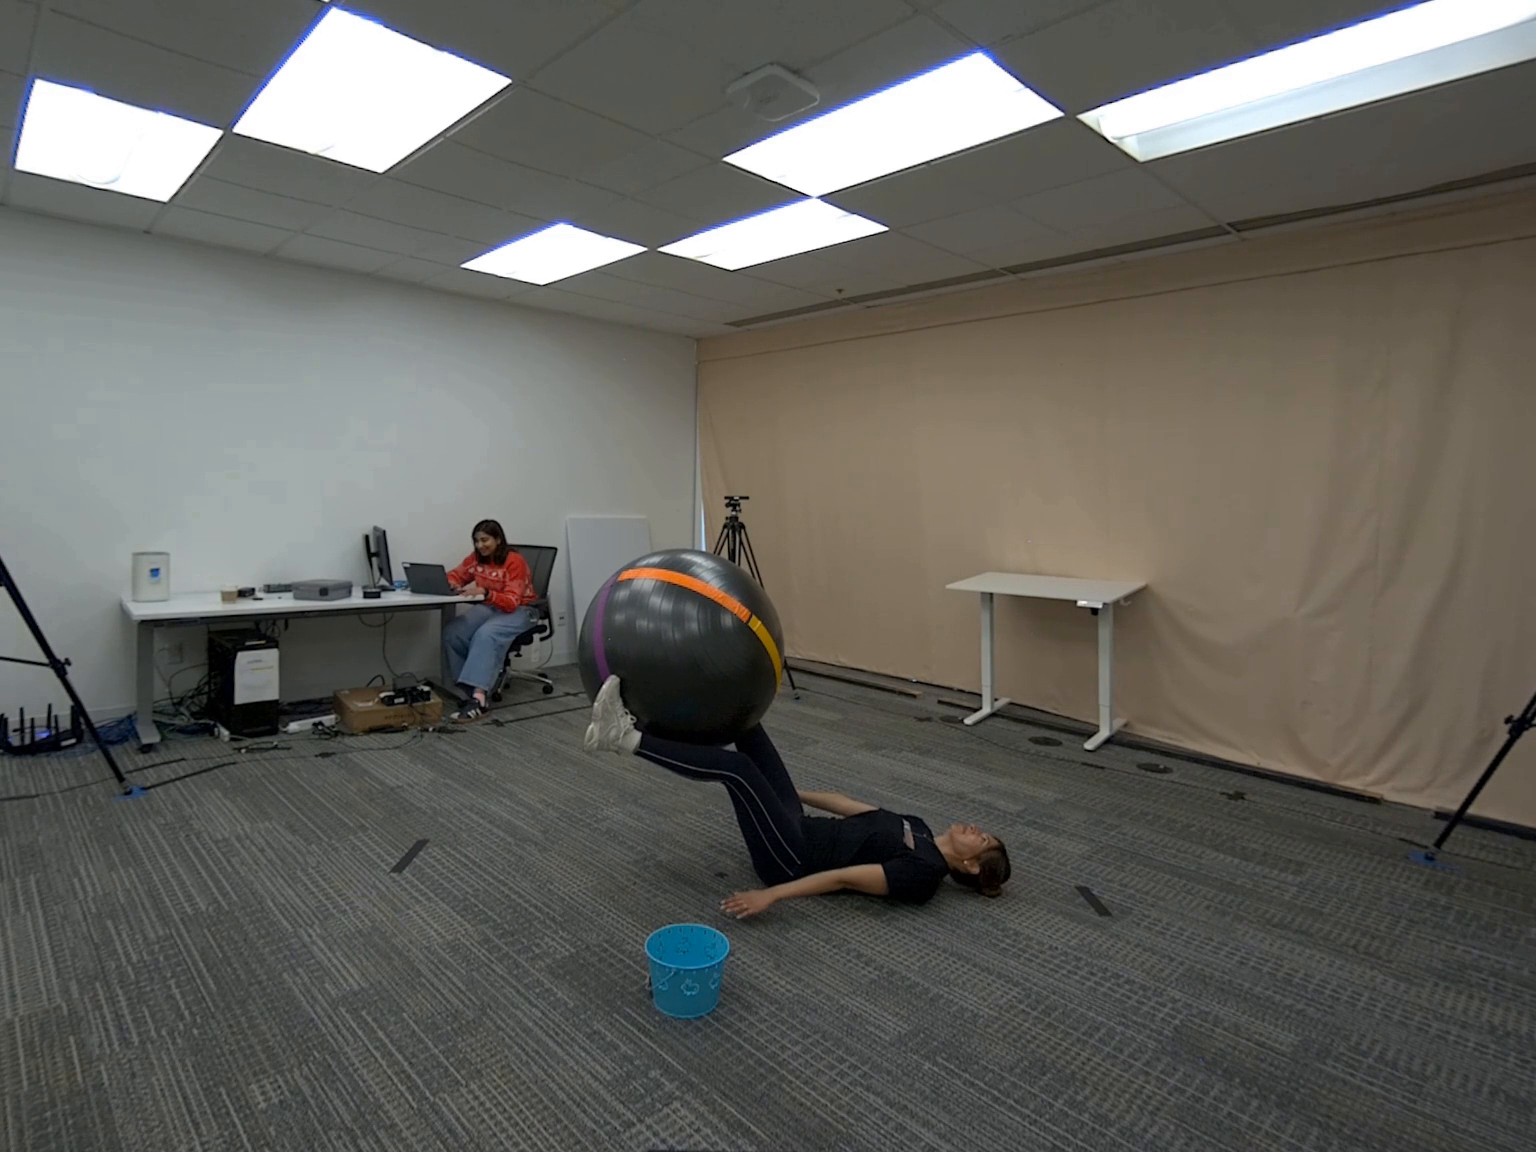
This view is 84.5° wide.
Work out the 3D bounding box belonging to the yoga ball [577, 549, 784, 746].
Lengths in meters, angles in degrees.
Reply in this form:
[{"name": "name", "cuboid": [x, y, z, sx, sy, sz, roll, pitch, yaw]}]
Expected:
[{"name": "yoga ball", "cuboid": [-0.311, 0.283, 3.108, 0.757, 0.756, 0.761, 1, 4, -1]}]
